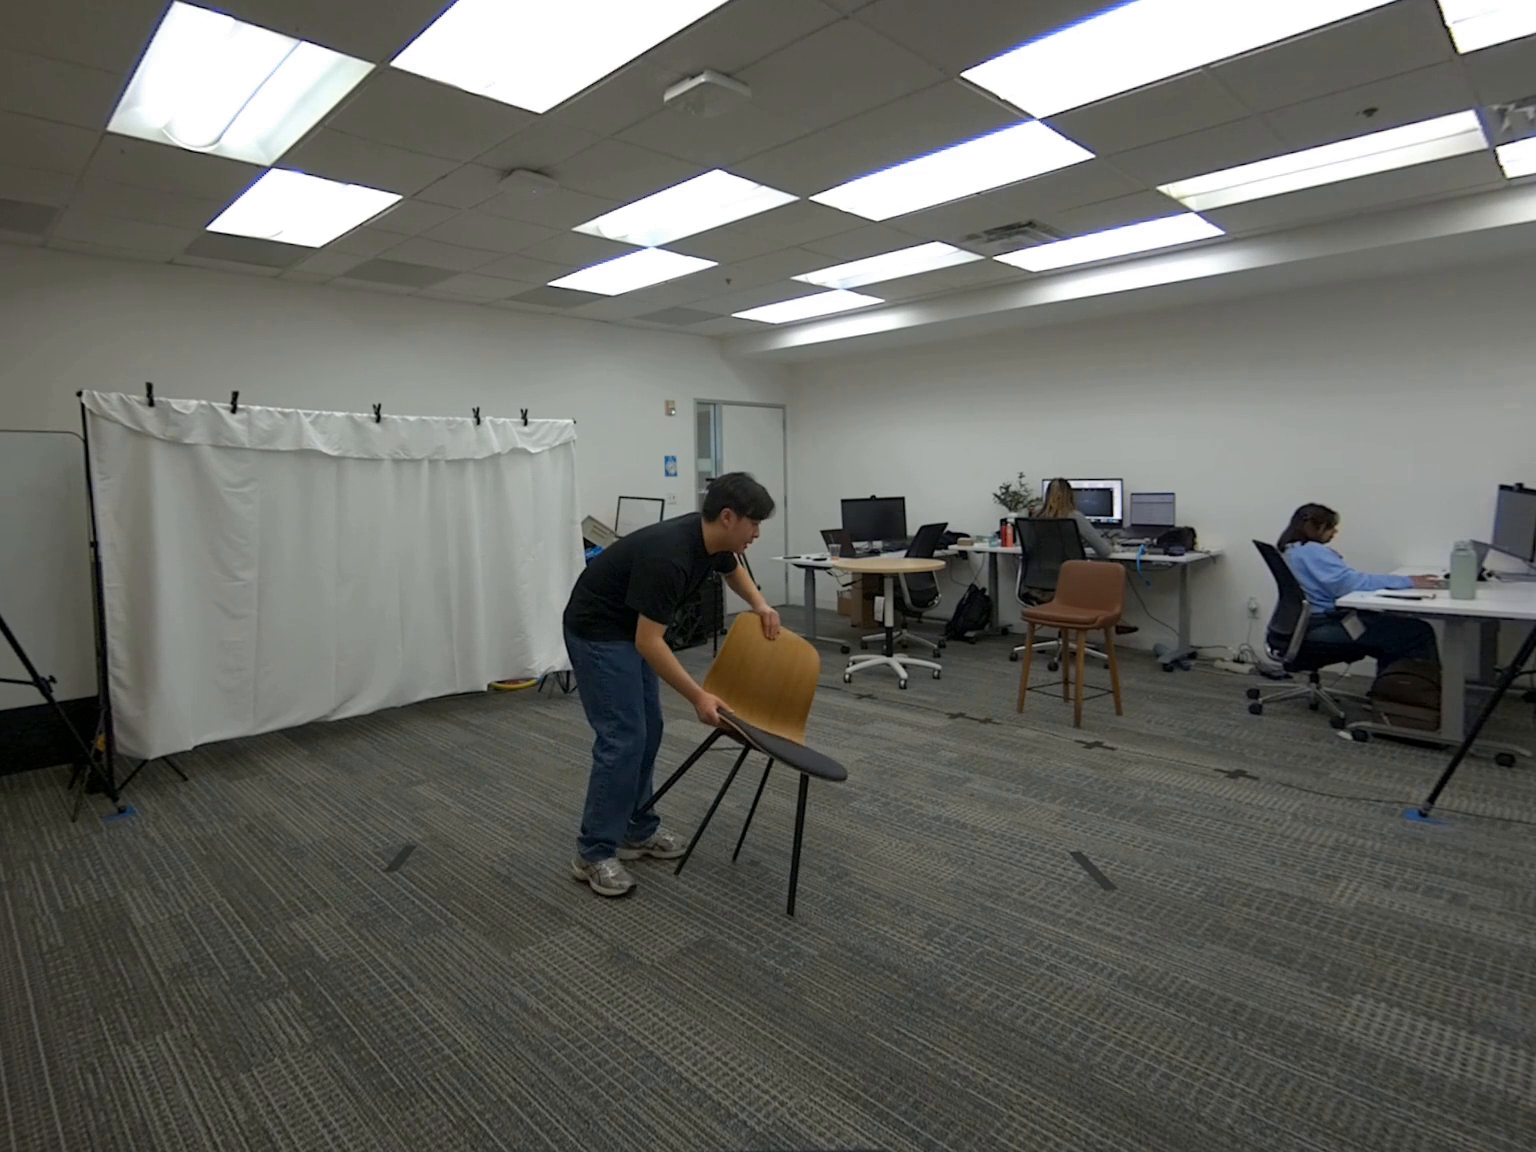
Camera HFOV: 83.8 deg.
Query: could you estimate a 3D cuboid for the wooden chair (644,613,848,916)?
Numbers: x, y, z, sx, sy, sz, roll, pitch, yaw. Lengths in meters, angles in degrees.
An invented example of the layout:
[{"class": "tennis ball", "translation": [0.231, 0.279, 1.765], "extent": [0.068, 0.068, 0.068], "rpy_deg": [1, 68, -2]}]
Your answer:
[{"class": "wooden chair", "translation": [-0.016, 0.587, 2.880], "extent": [0.465, 0.882, 0.535], "rpy_deg": [28, -13, -24]}]
